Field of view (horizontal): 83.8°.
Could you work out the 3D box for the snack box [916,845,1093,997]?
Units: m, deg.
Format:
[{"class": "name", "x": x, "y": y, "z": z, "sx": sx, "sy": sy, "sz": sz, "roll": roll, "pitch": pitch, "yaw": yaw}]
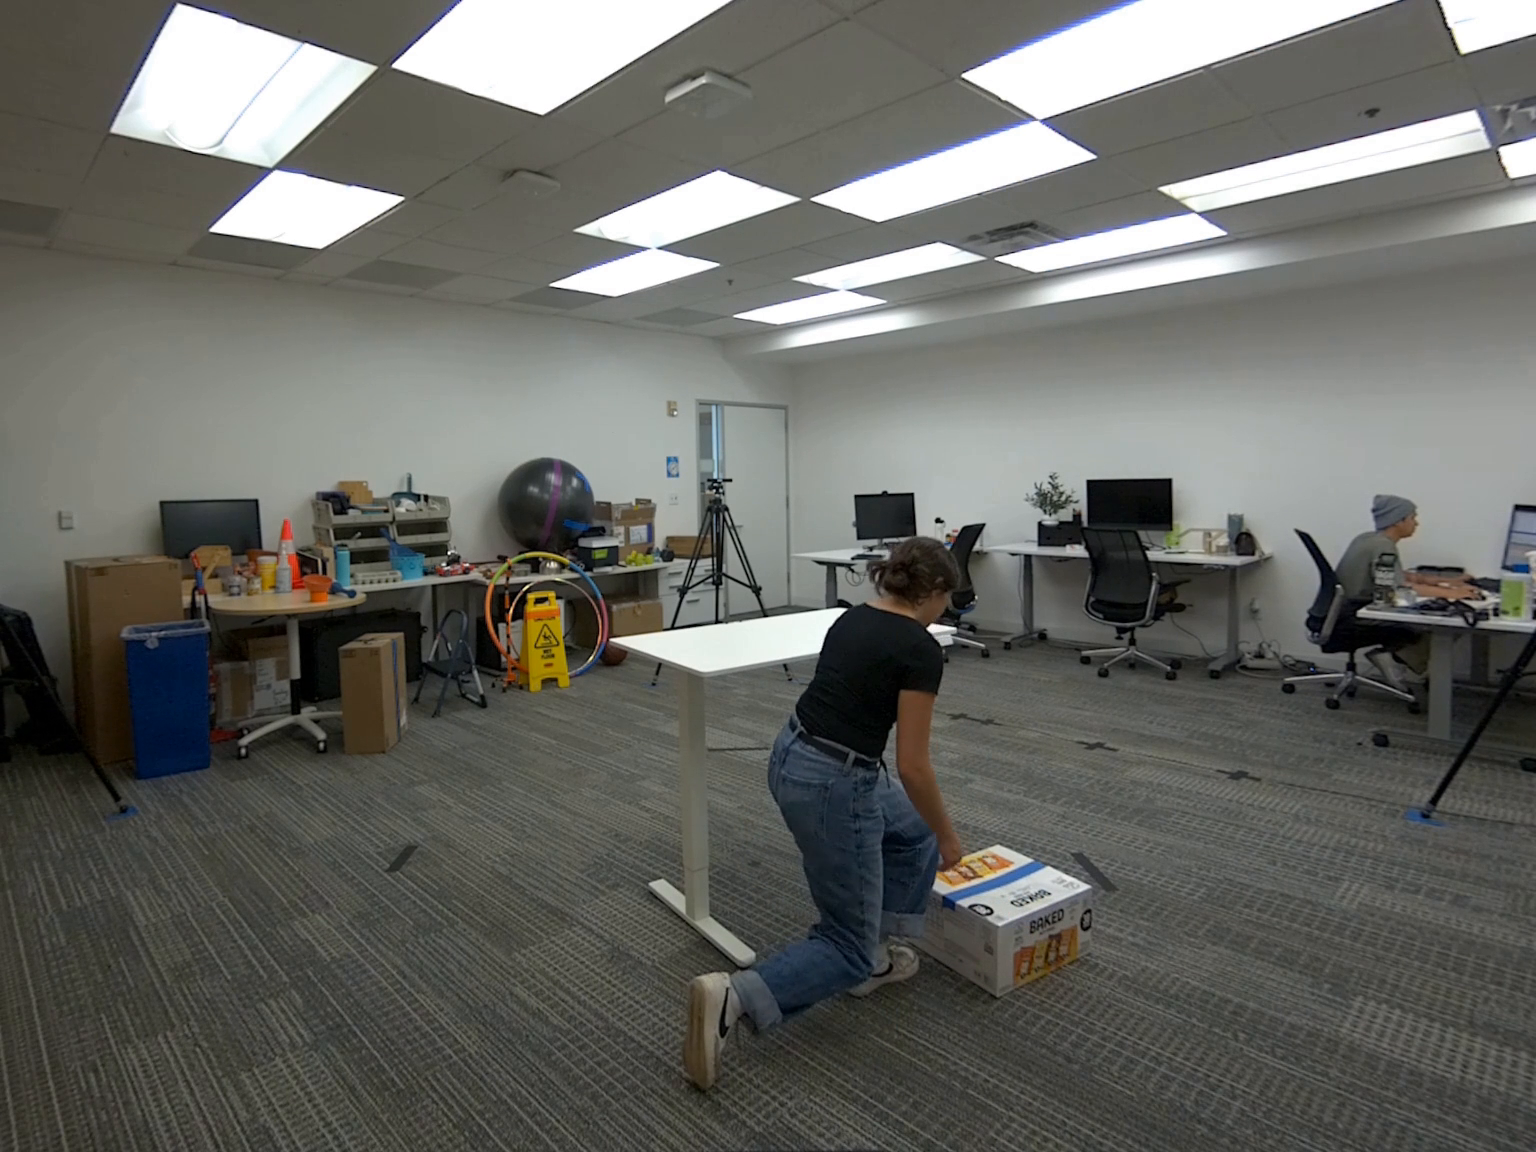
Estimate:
[{"class": "snack box", "x": 0.688, "y": 1.000, "z": 2.514, "sx": 0.395, "sy": 0.205, "sz": 0.350, "roll": -5, "pitch": 7, "yaw": -33}]
